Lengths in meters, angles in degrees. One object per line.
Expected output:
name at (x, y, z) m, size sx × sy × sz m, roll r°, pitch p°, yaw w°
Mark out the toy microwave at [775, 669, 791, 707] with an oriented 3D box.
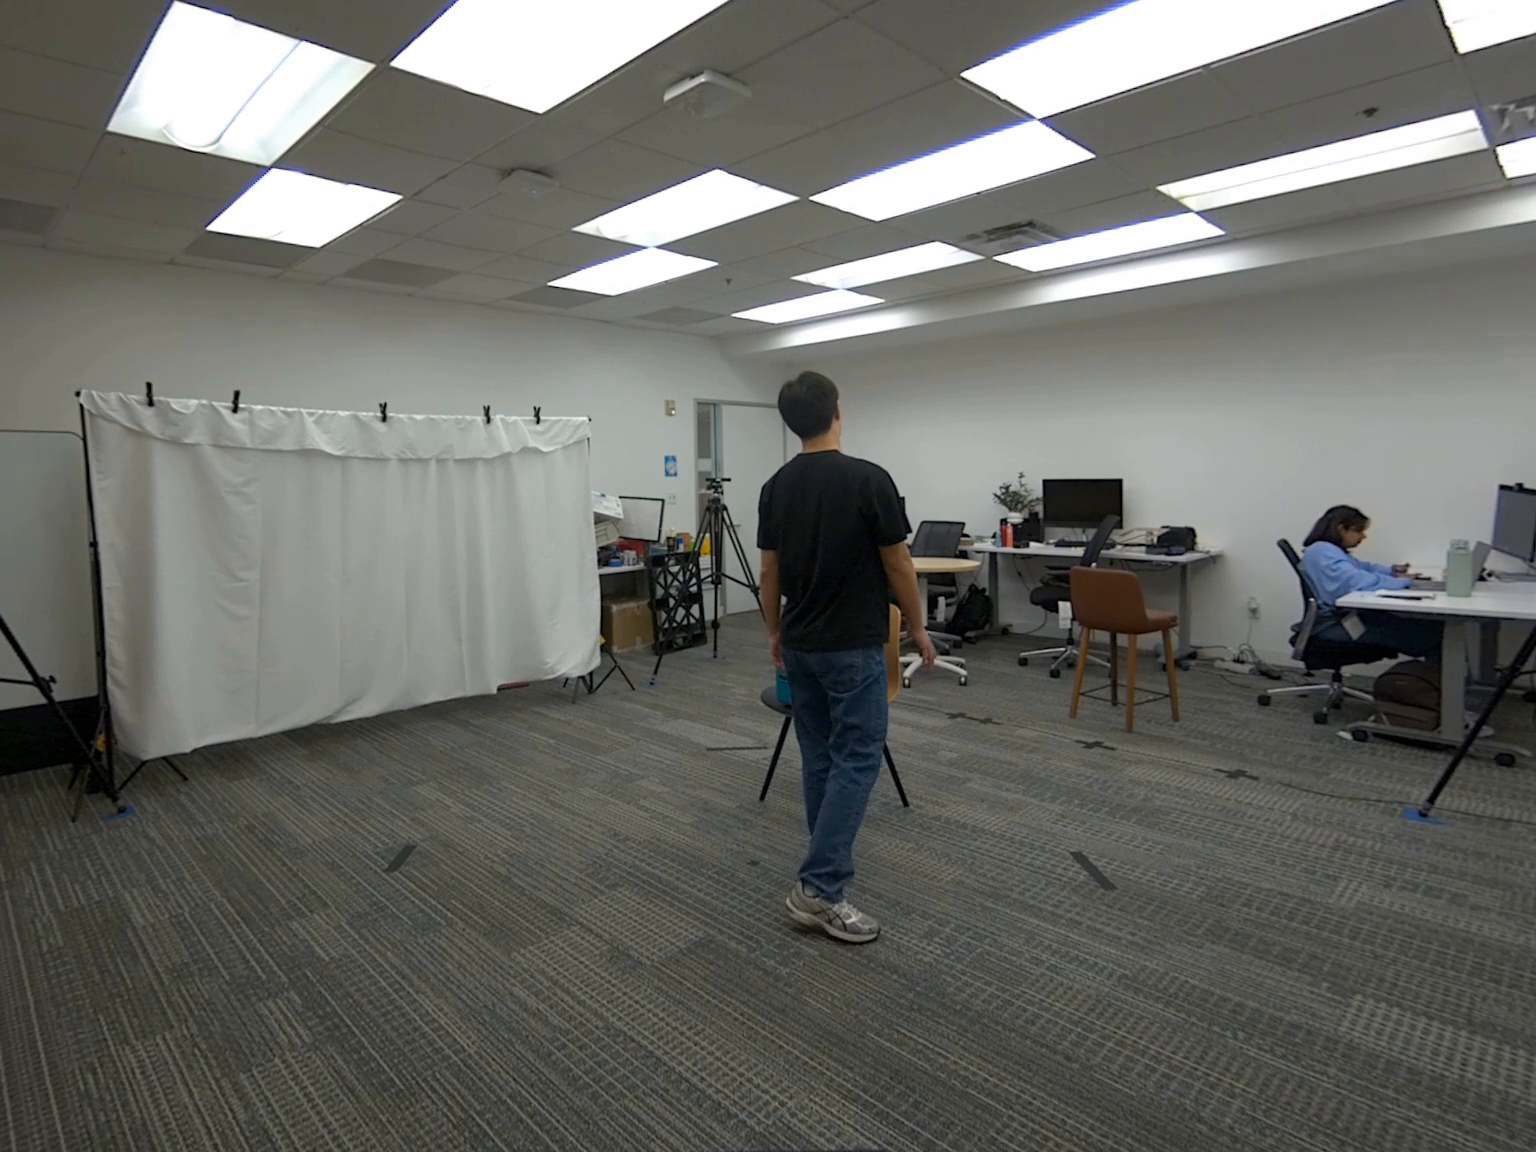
toy microwave at (0.179, 0.421, 3.526) m, size 0.279 × 0.183 × 0.157 m, roll -6°, pitch 5°, yaw -40°
